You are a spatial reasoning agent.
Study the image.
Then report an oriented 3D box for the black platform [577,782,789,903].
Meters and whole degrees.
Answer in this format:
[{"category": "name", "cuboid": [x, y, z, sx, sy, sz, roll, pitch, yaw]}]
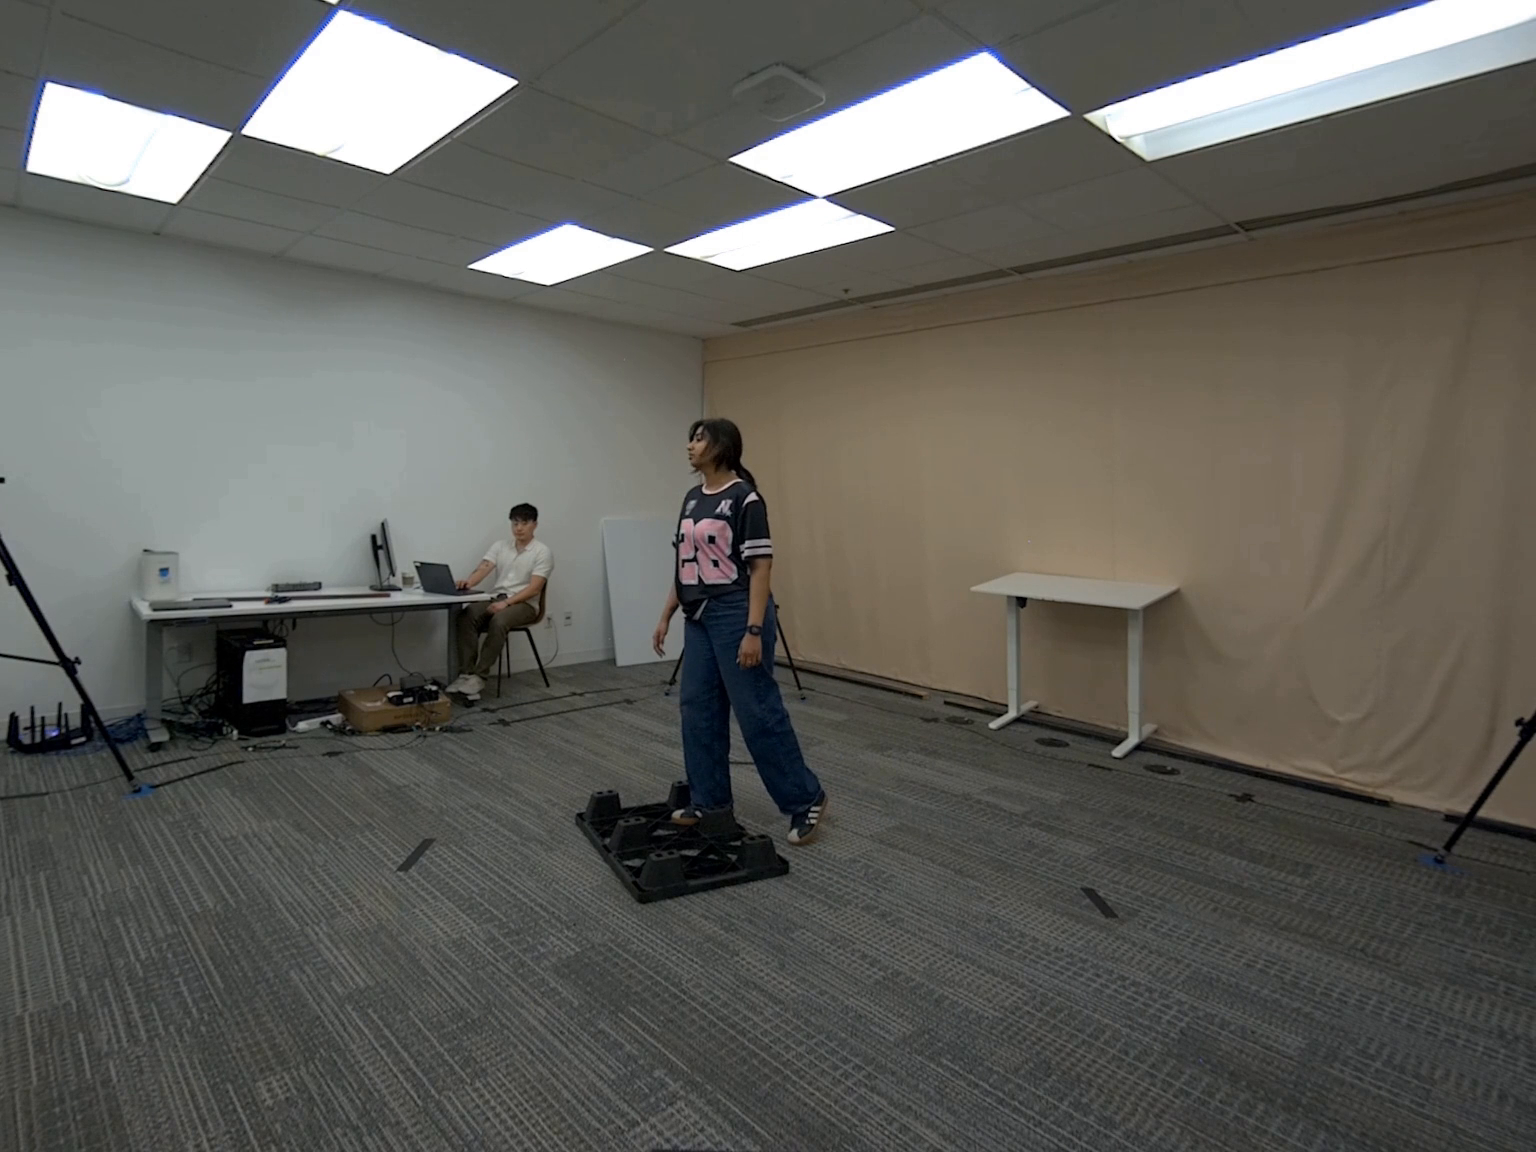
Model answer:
[{"category": "black platform", "cuboid": [-0.369, 1.014, 3.341, 0.593, 0.143, 0.824, -2, 6, -28]}]
